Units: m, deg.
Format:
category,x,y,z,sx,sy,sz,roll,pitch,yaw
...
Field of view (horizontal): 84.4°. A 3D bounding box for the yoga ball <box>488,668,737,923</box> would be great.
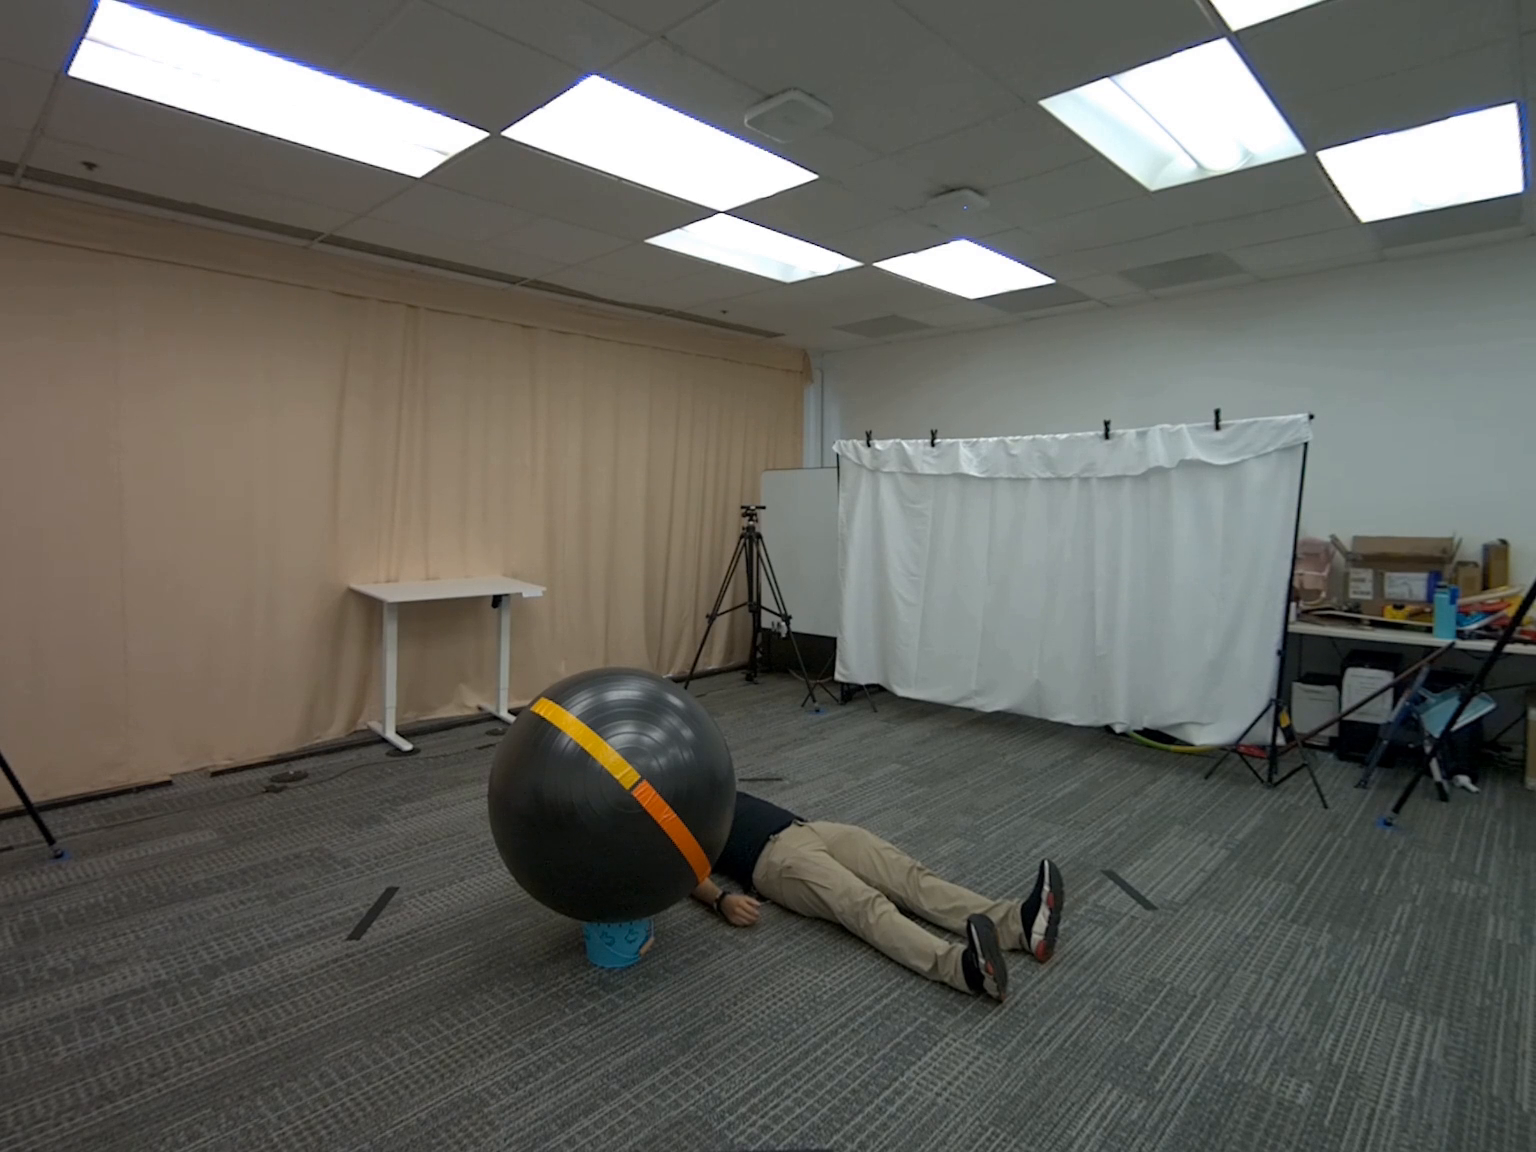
category,x,y,z,sx,sy,sz,roll,pitch,yaw
yoga ball,-0.474,0.667,2.611,0.757,0.756,0.761,0,4,-2
